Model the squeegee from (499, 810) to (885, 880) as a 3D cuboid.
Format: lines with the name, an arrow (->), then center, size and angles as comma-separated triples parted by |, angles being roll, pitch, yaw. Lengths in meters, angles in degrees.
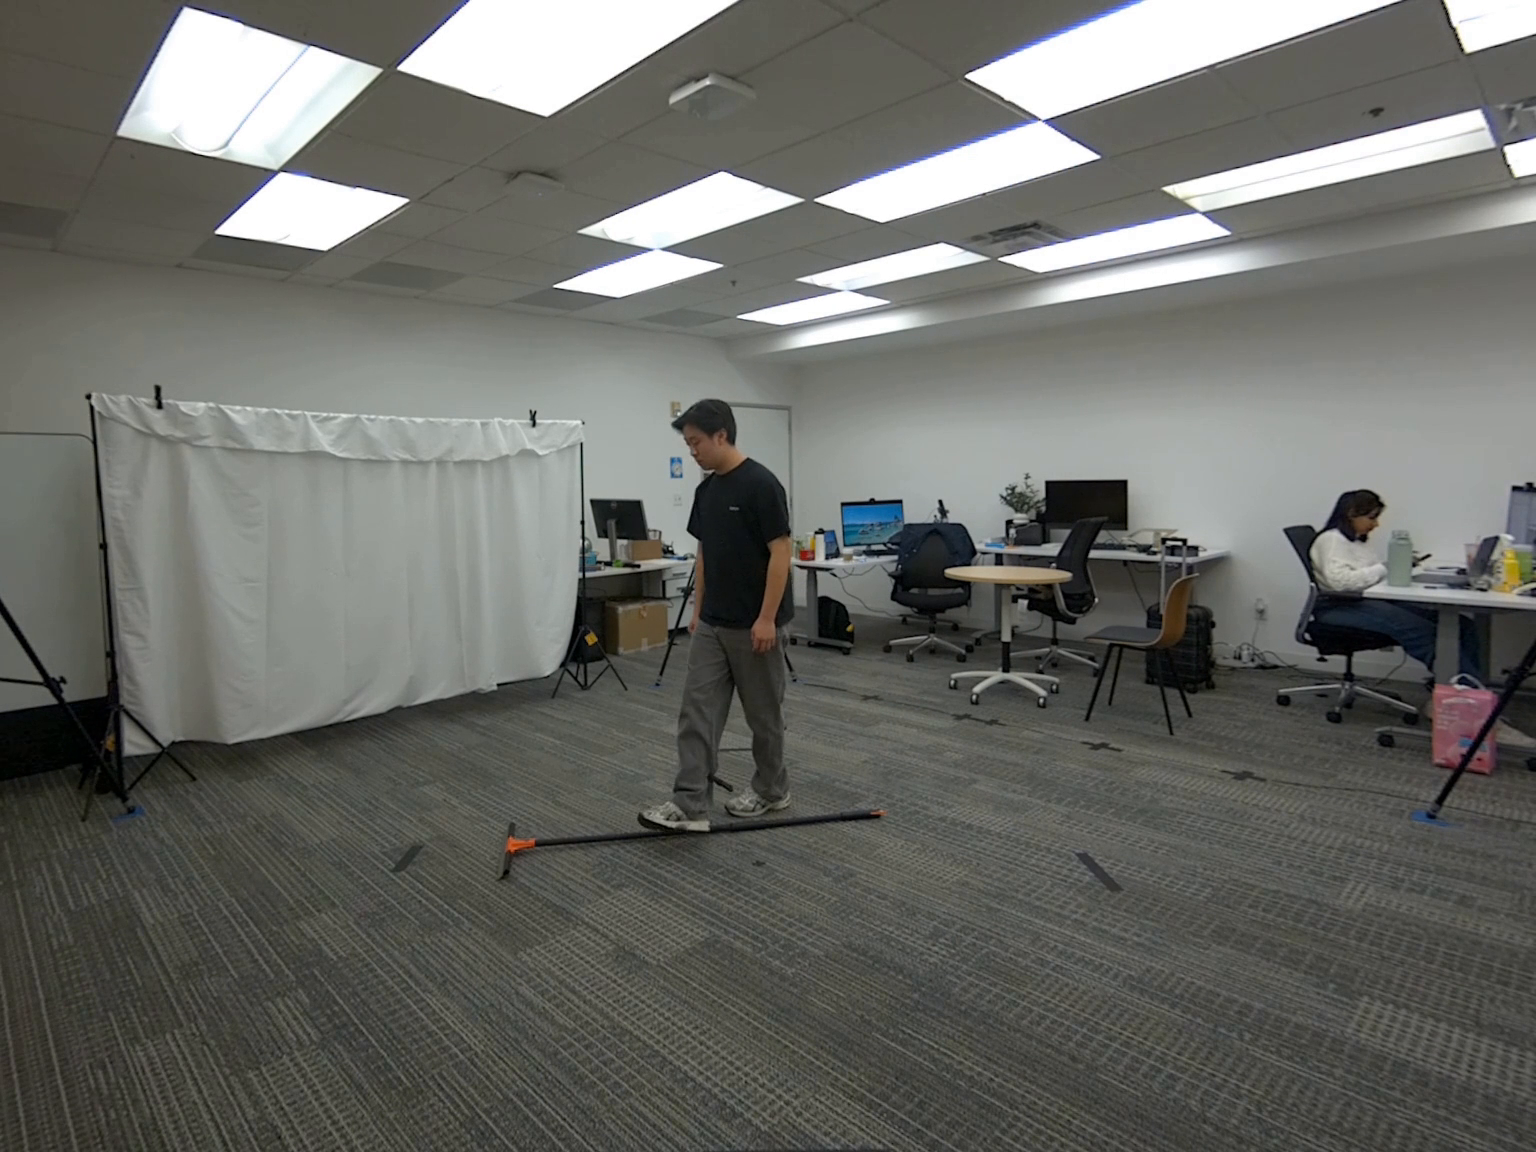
squeegee -> -0.259, 0.961, 3.375 | 1.520, 0.052, 0.445 | -4, 7, -12
